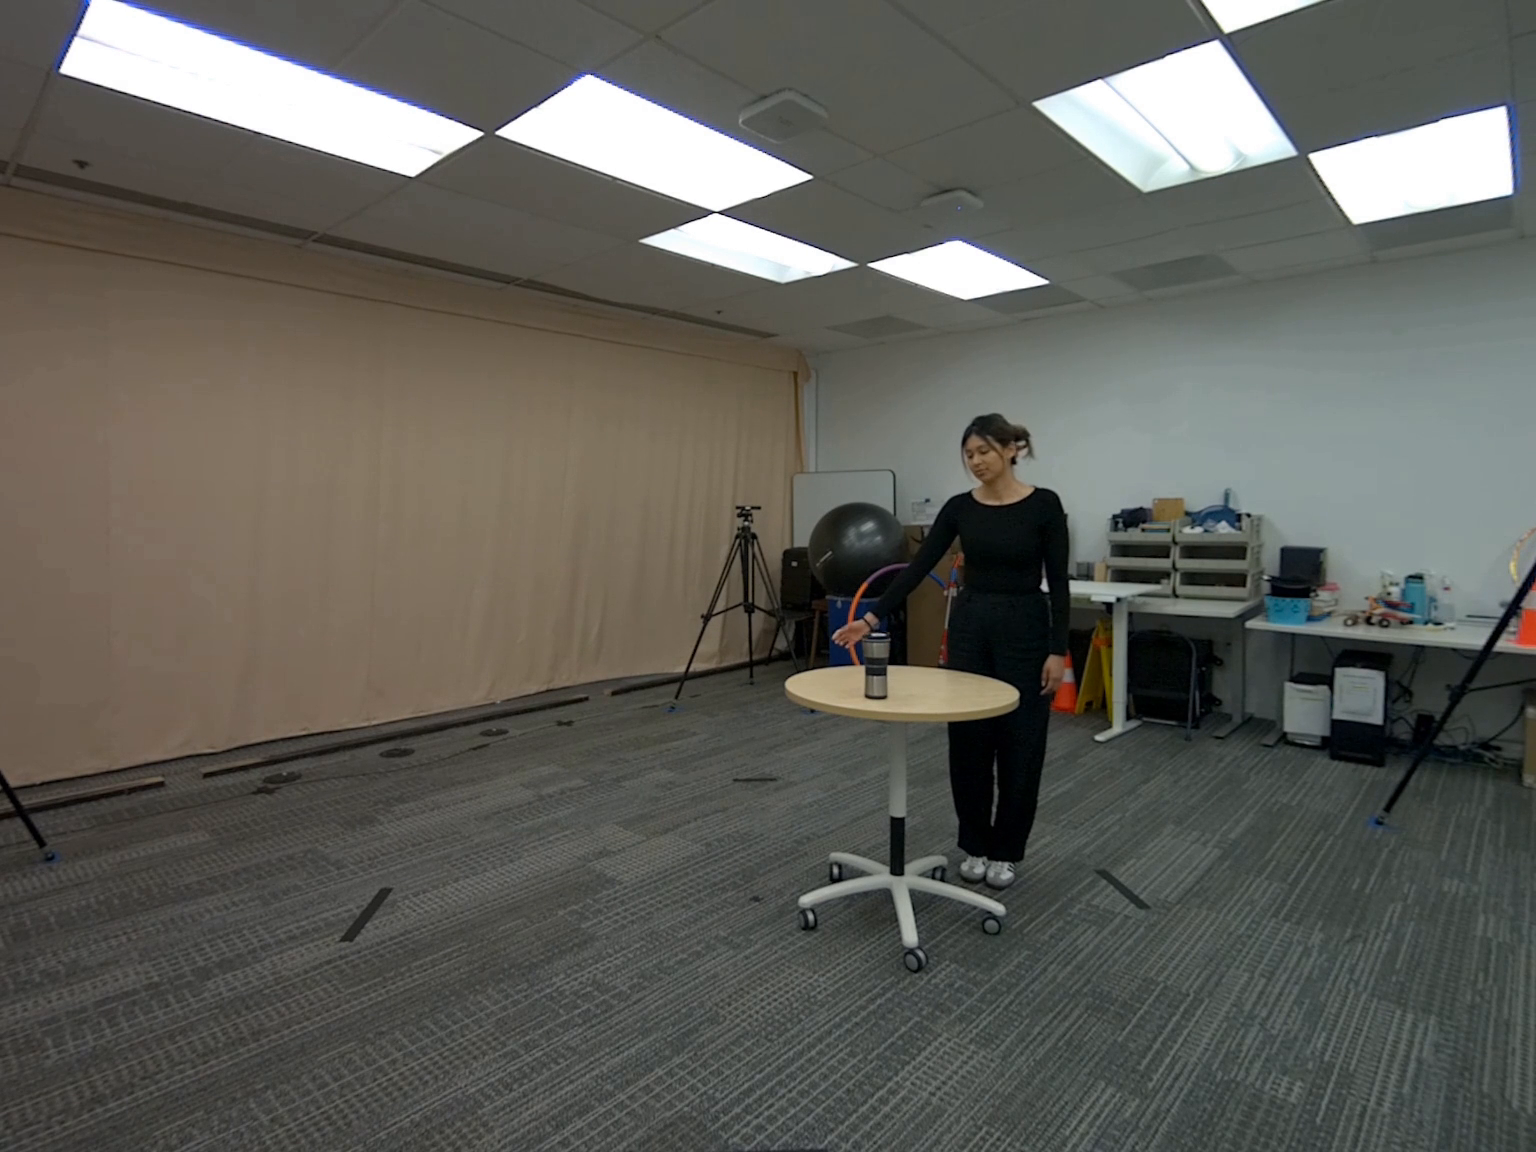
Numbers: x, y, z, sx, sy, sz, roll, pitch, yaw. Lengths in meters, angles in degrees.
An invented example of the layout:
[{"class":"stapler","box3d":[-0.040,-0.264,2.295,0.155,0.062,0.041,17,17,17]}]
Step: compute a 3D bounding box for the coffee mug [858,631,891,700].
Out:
[{"class":"coffee mug","box3d":[0.361,0.282,2.670,0.119,0.203,0.090,-5,2,-32]}]
